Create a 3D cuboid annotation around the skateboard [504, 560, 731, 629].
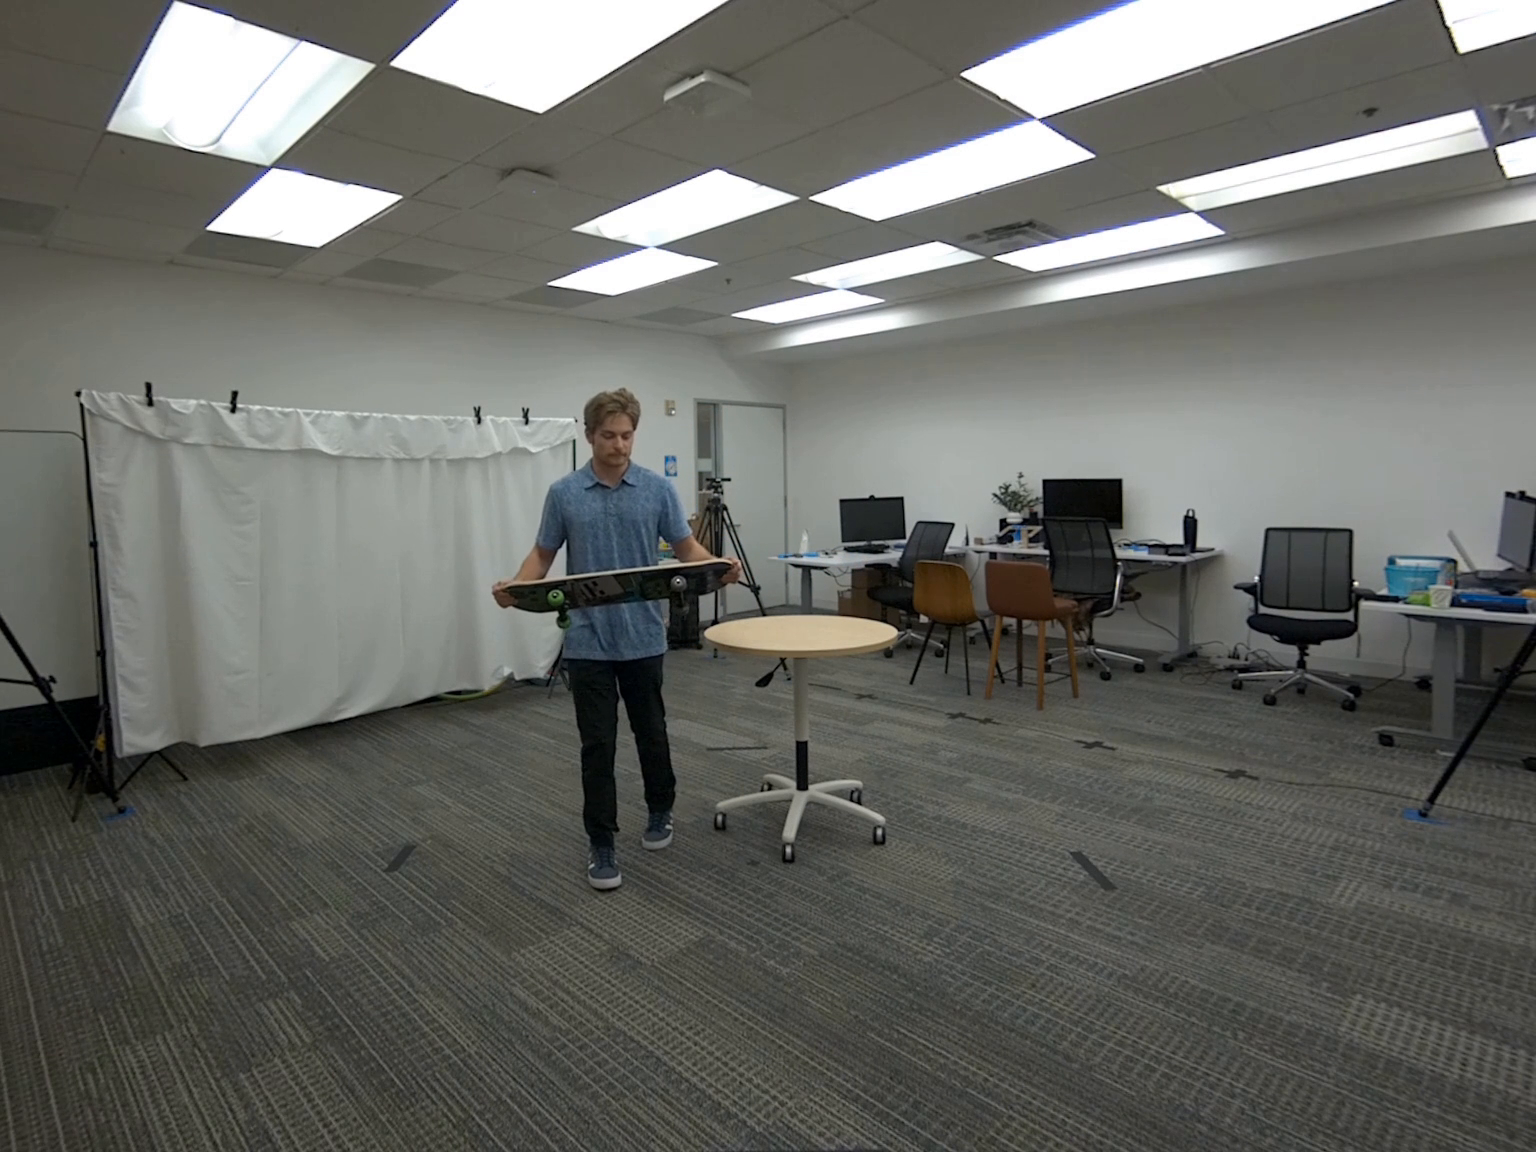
[{"bbox_3d":[-0.471,0.065,2.829,0.782,0.113,0.189,-7,-31,-5],"label":"skateboard"}]
